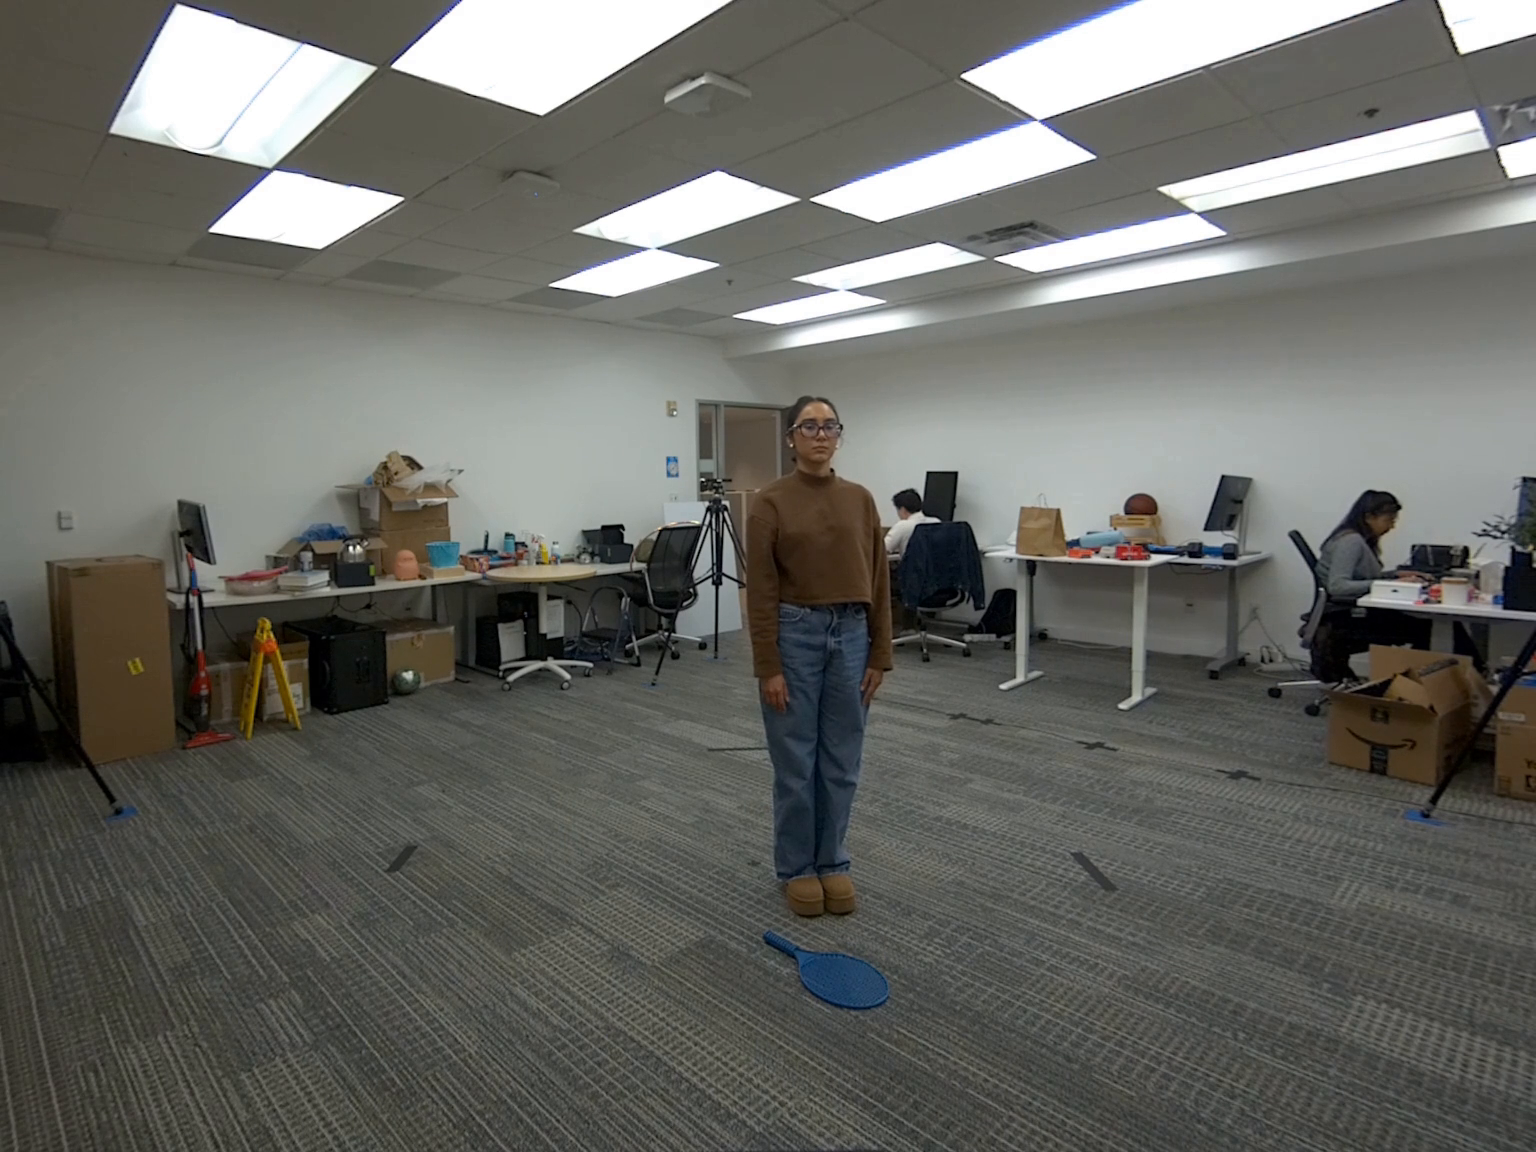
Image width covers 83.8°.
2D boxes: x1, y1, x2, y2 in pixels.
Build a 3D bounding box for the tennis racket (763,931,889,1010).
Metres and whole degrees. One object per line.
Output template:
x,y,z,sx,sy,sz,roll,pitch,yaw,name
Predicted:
0.155,1.111,2.426,0.208,0.031,0.447,-7,10,-42,tennis racket
